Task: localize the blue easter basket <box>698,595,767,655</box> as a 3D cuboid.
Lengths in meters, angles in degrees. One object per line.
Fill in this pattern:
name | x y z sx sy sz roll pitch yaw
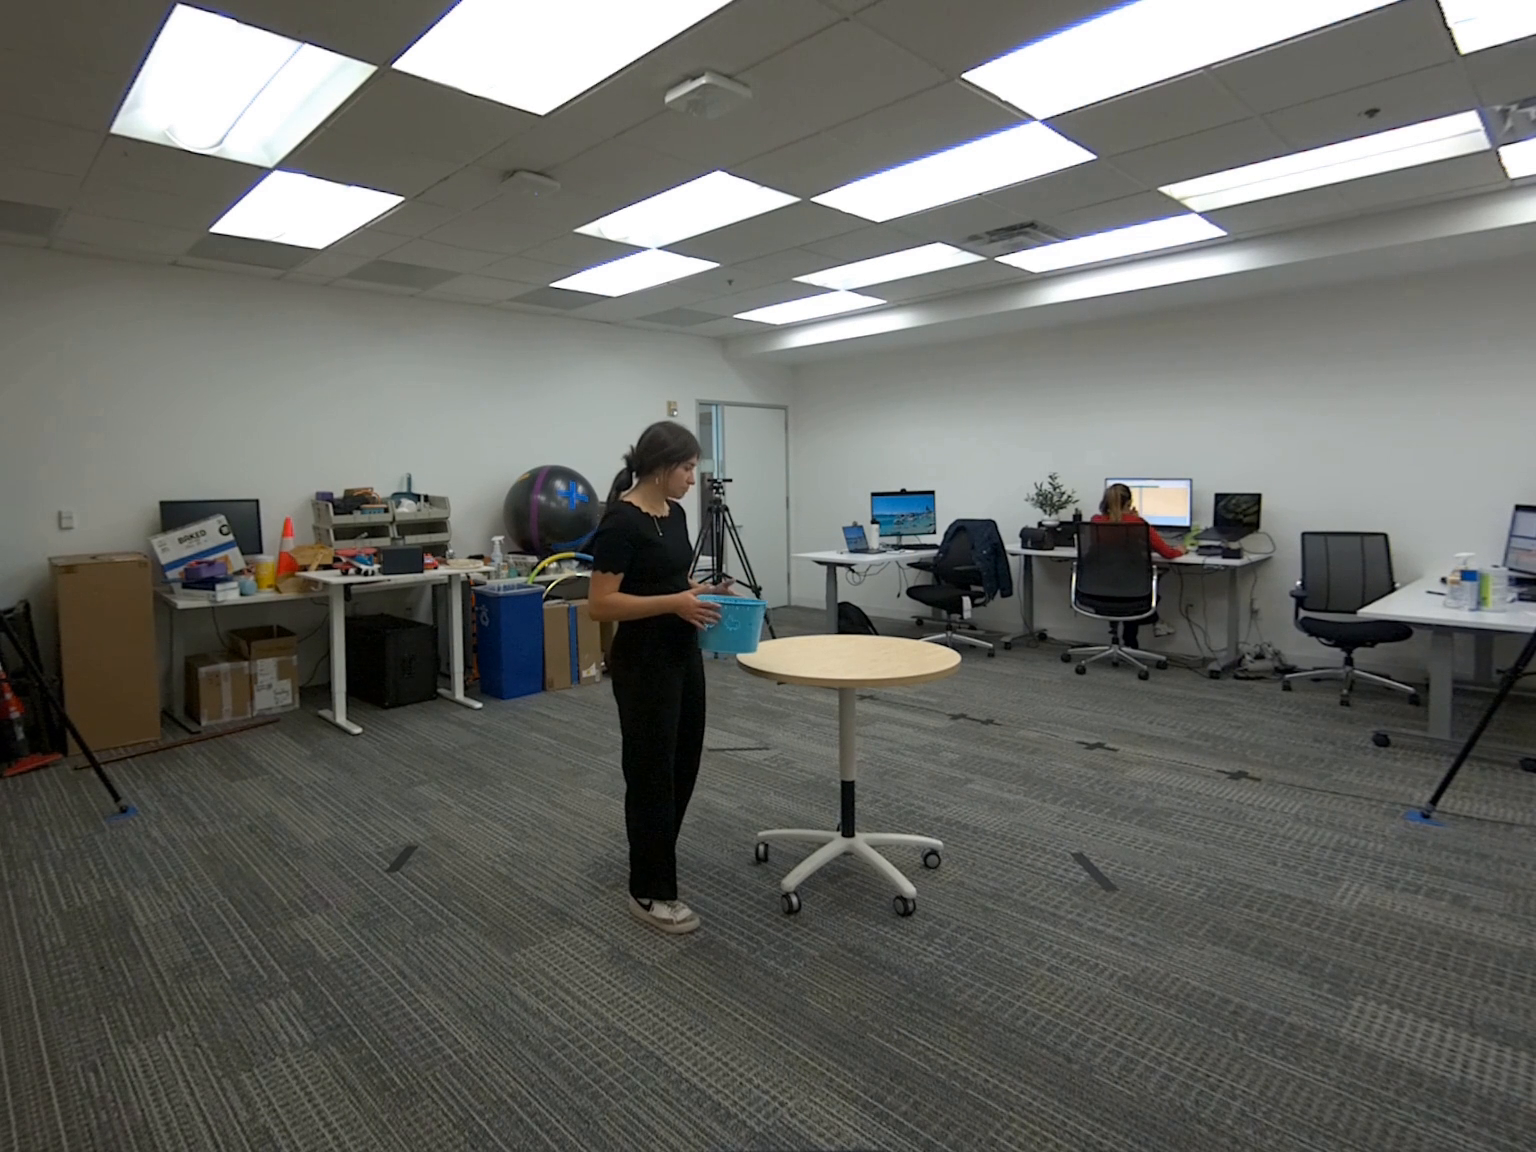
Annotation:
blue easter basket | -0.123 0.148 2.632 0.243 0.156 0.244 4 2 -2
